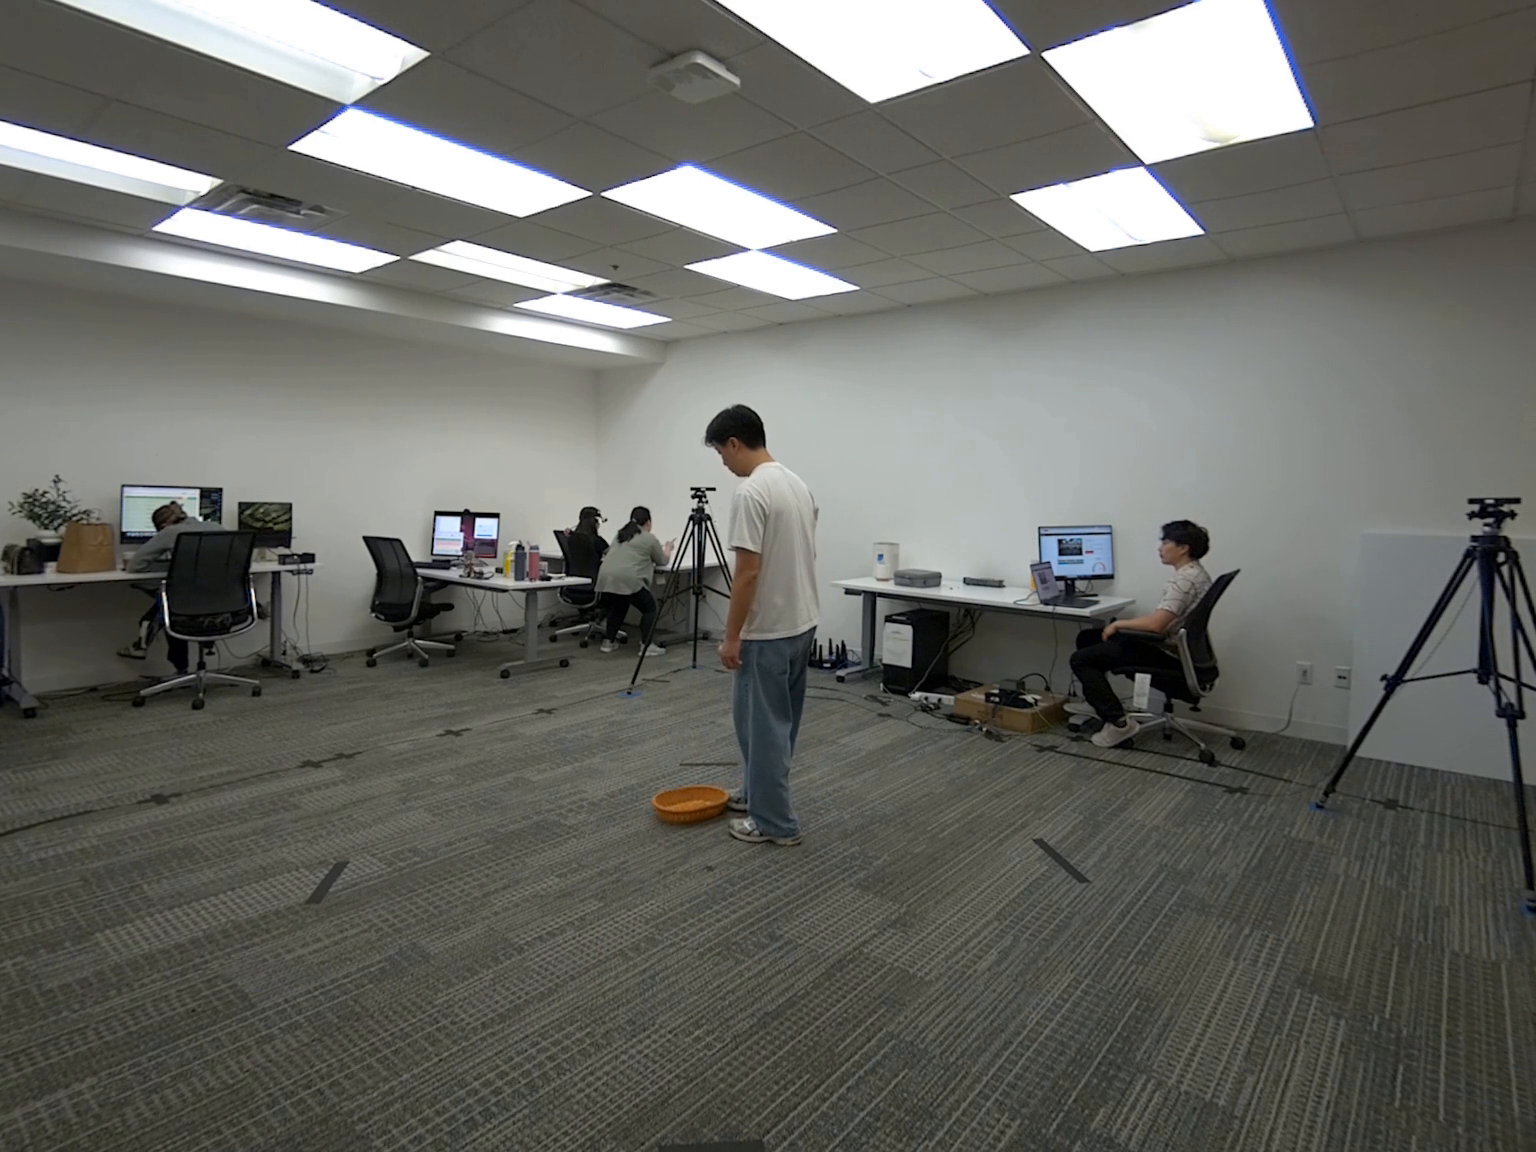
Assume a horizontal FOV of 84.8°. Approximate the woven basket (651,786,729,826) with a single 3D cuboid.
[{"bbox_3d":[-0.345,0.972,3.633,0.341,0.073,0.261,-4,7,-34],"label":"woven basket"}]
